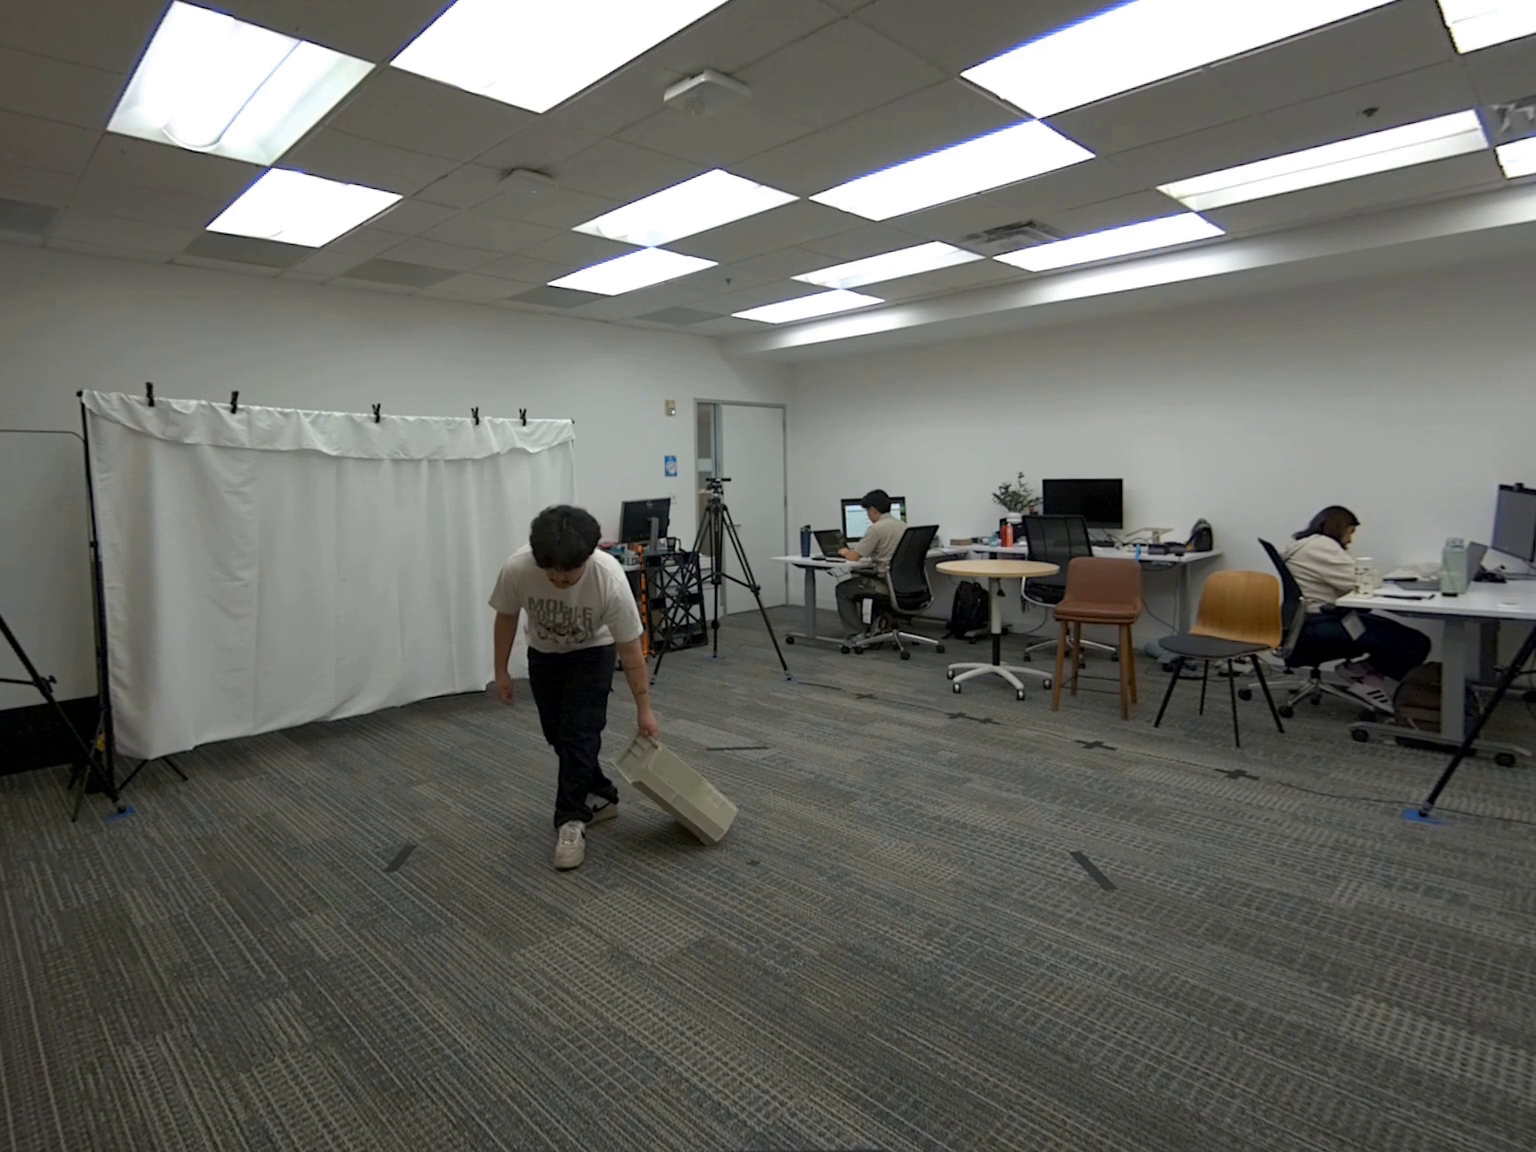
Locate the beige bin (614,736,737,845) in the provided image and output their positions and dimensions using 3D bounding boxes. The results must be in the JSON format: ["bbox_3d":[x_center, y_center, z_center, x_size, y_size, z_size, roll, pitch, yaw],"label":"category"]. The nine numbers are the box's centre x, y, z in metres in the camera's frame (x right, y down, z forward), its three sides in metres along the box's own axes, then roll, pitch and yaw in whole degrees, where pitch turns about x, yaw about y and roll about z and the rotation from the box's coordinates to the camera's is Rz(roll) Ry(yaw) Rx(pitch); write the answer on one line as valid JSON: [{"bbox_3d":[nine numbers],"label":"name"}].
[{"bbox_3d":[-0.369,0.813,3.337,0.413,0.189,0.385,42,-13,-19],"label":"beige bin"}]
